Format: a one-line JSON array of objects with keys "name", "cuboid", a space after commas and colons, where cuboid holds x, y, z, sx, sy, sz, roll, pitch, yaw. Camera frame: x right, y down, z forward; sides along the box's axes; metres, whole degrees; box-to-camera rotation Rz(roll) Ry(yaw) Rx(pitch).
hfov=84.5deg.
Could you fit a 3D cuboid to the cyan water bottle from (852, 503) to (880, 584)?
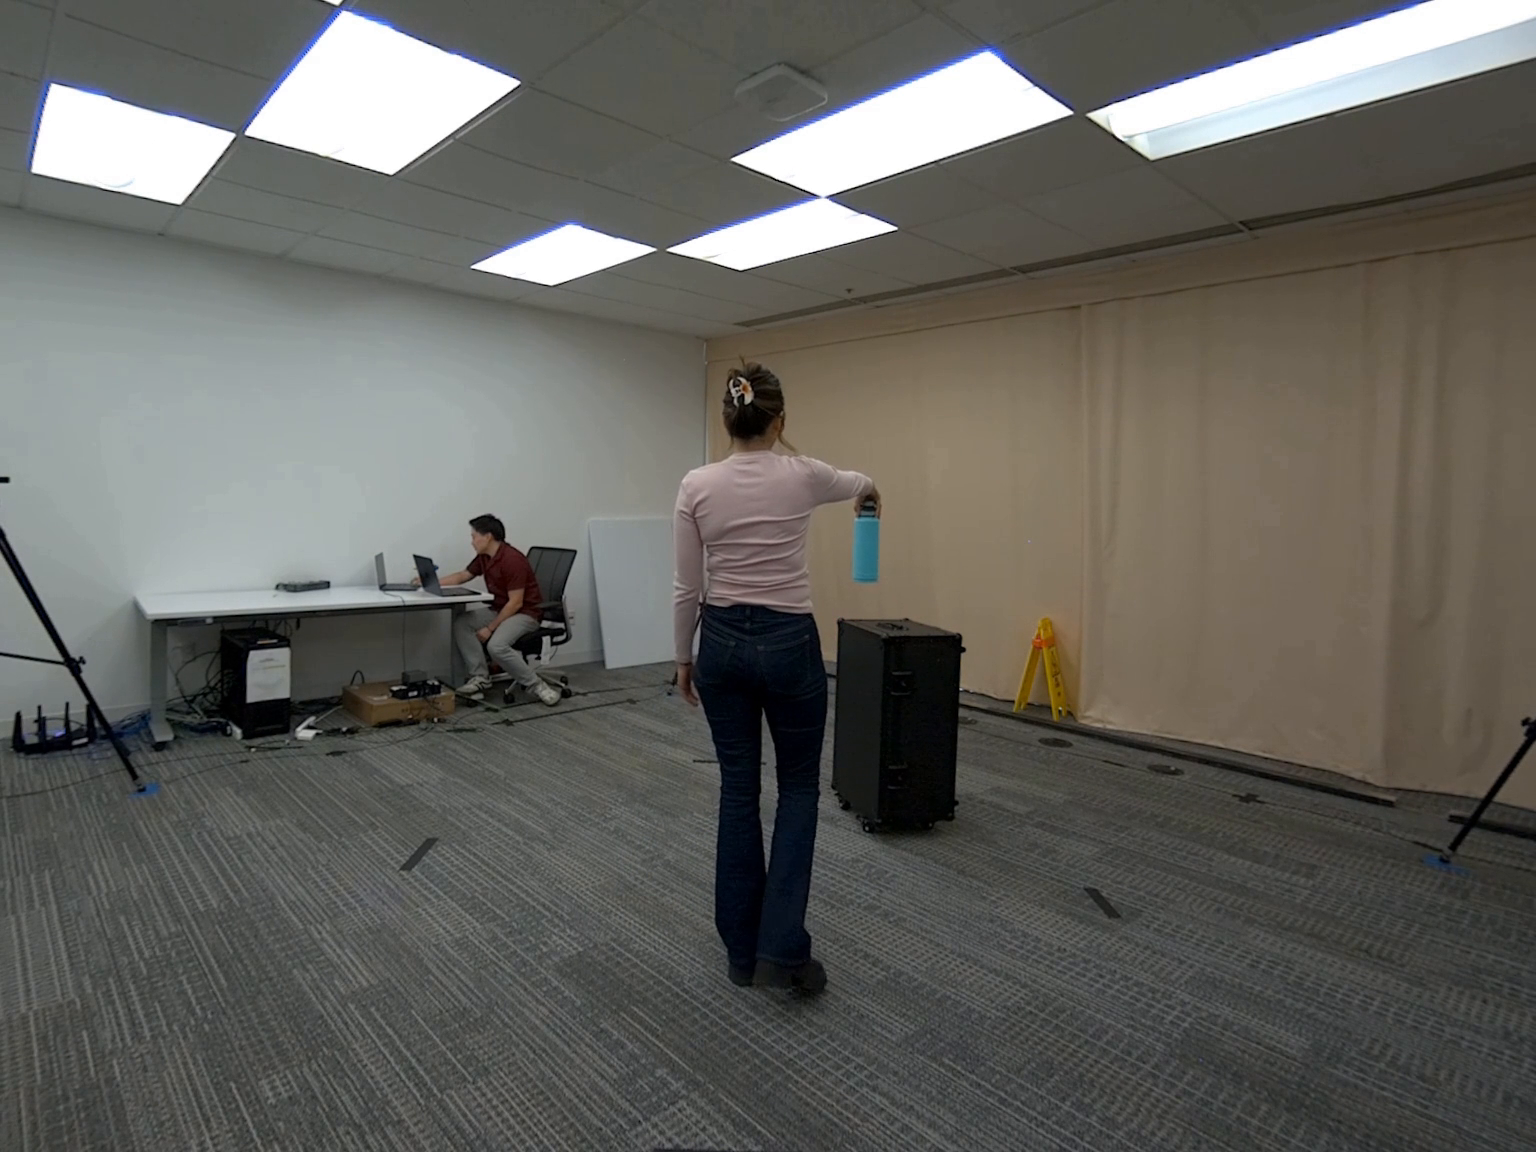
[{"name": "cyan water bottle", "cuboid": [0.343, -0.121, 2.961, 0.092, 0.282, 0.093, 2, 5, -2]}]
